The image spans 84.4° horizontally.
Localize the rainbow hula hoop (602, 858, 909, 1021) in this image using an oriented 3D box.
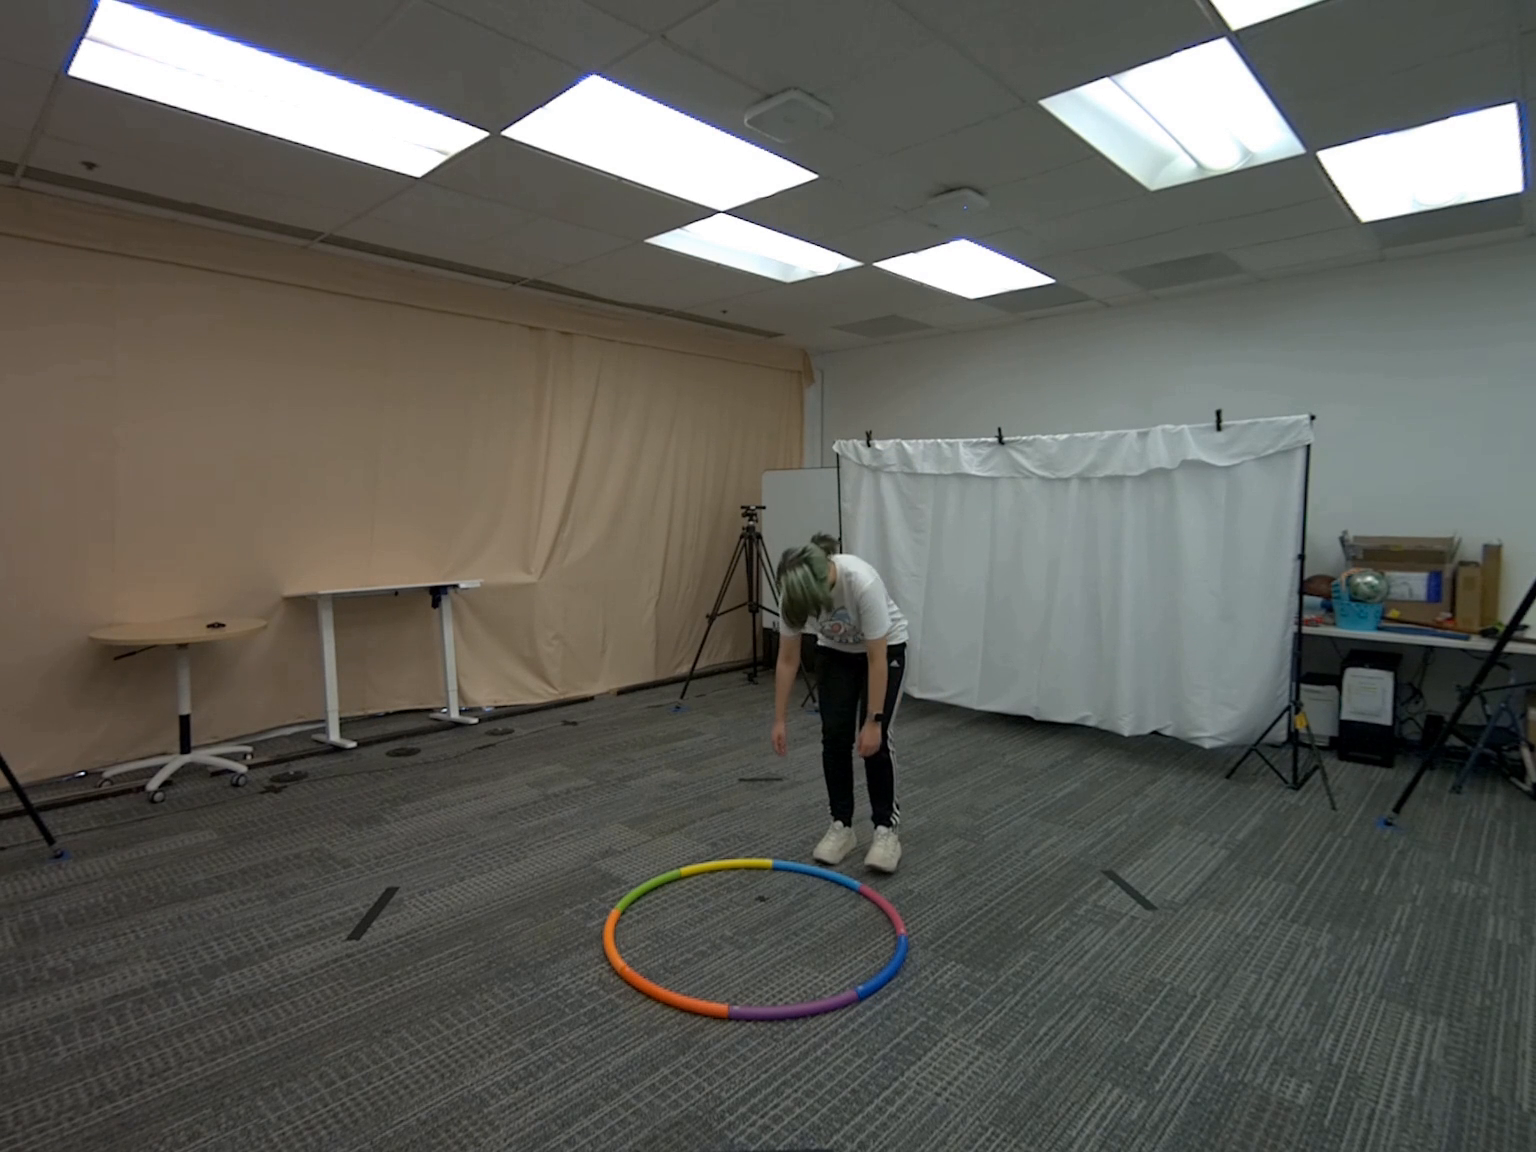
[{"bbox_3d":[-0.045,1.132,2.762,0.978,0.035,0.982,-1,5,-2],"label":"rainbow hula hoop"}]
